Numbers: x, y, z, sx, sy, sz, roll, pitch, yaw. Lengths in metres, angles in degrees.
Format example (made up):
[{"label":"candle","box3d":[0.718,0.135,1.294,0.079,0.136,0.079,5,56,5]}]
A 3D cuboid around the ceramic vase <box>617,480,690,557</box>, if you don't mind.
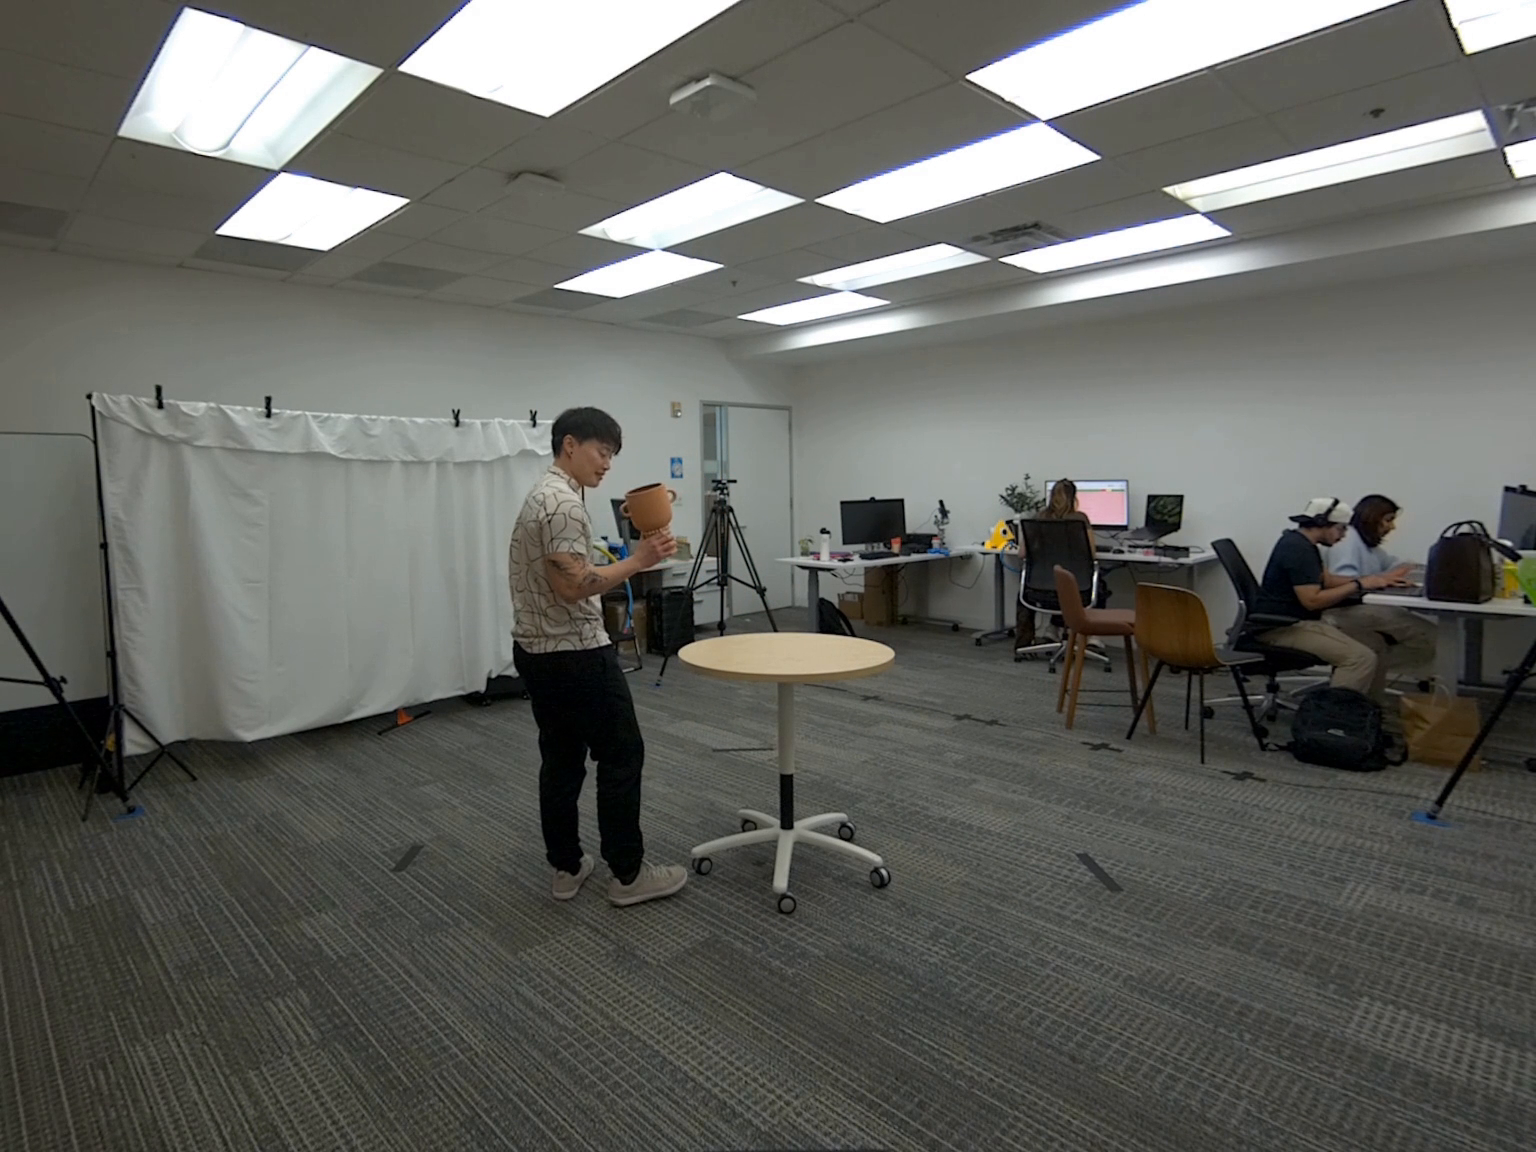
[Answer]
[{"label":"ceramic vase","box3d":[-0.366,-0.178,2.755,0.160,0.217,0.135,-8,13,13]}]
